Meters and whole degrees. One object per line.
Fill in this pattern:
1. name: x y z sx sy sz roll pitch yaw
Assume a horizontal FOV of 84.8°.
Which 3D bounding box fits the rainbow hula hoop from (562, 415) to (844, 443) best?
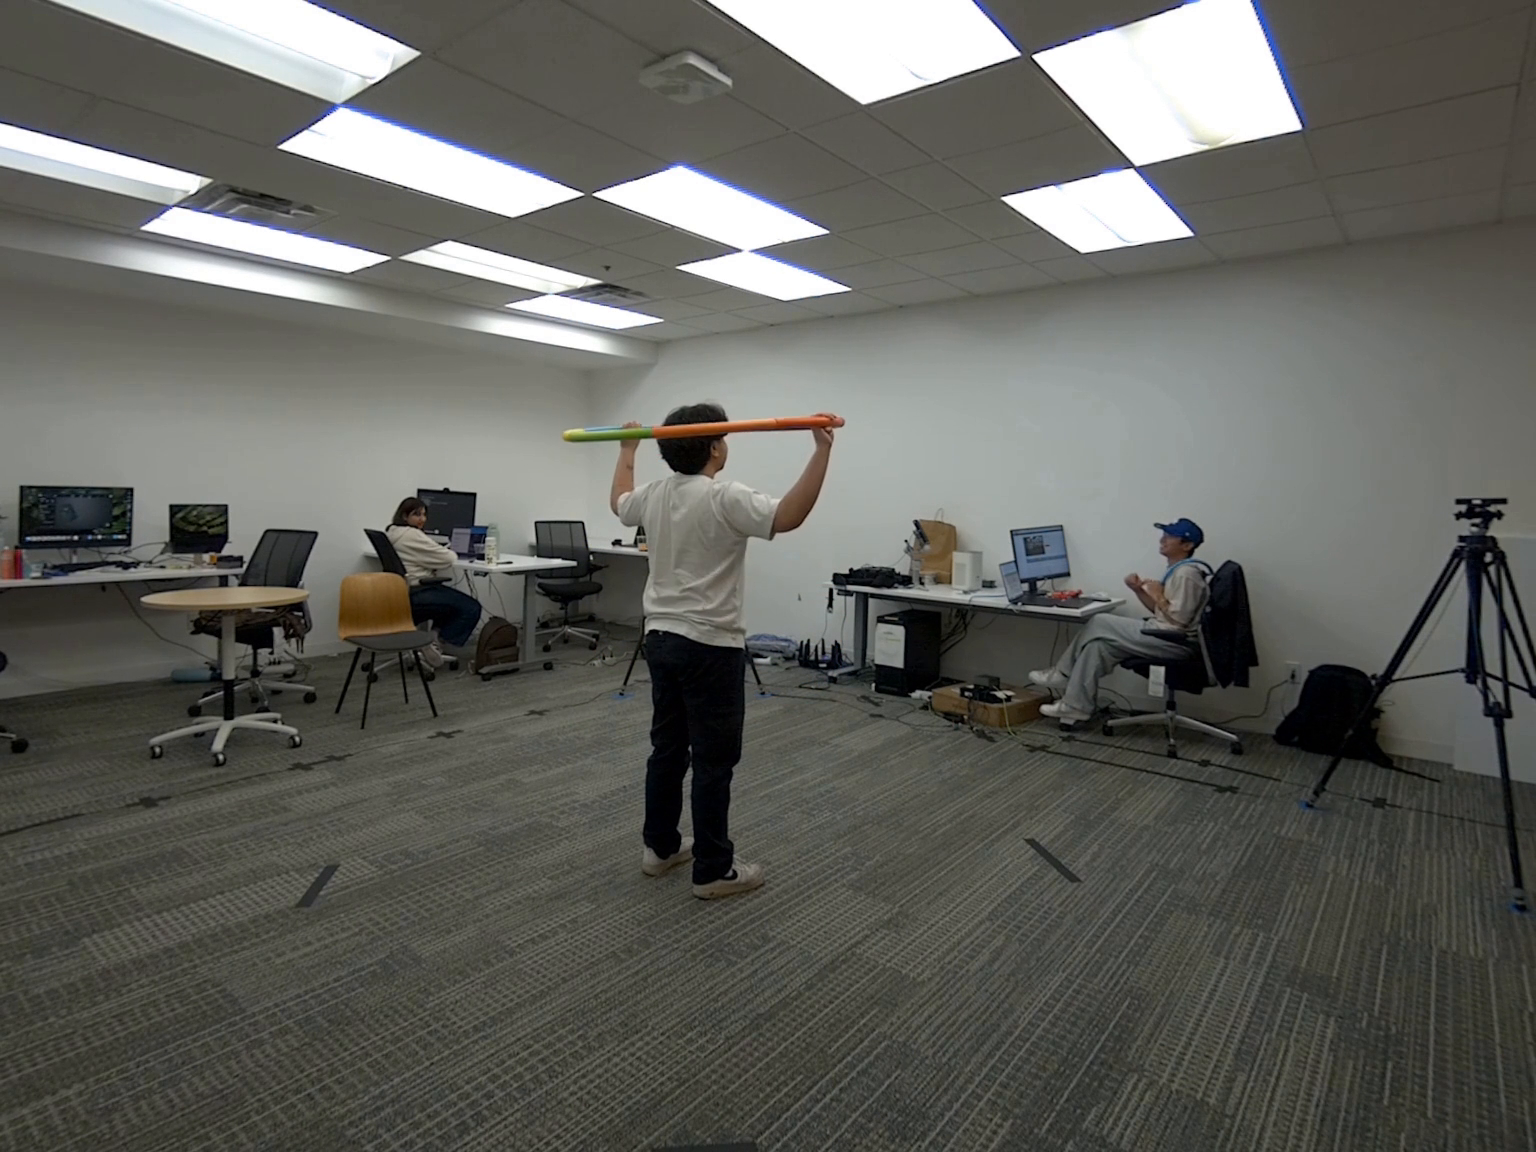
1. rainbow hula hoop: -0.233 -0.526 3.007 0.985 0.051 0.995 -3 10 -1
